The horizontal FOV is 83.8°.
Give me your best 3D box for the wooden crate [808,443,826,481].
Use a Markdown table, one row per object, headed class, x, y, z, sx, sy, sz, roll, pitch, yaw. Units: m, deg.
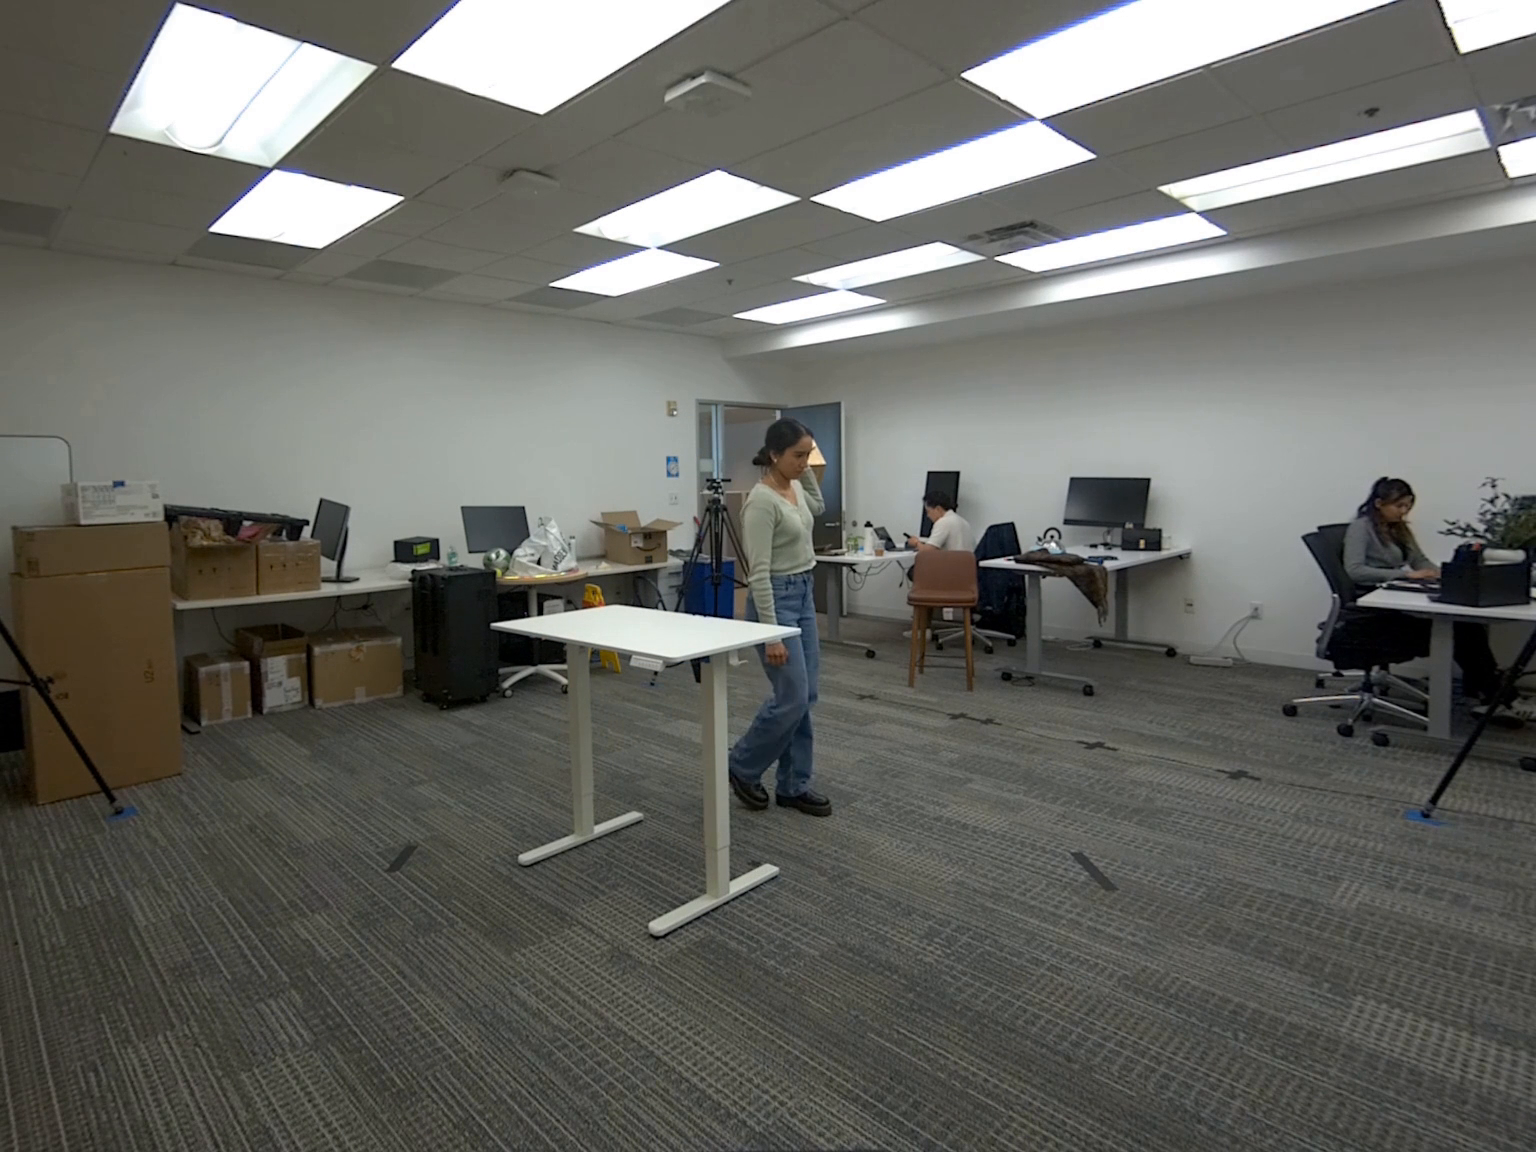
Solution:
| class | x | y | z | sx | sy | sz | roll | pitch | yaw |
| --- | --- | --- | --- | --- | --- | --- | --- | --- | --- |
| wooden crate | 0.083 | -0.452 | 3.910 | 0.269 | 0.317 | 0.313 | -6 | 45 | -17 |
